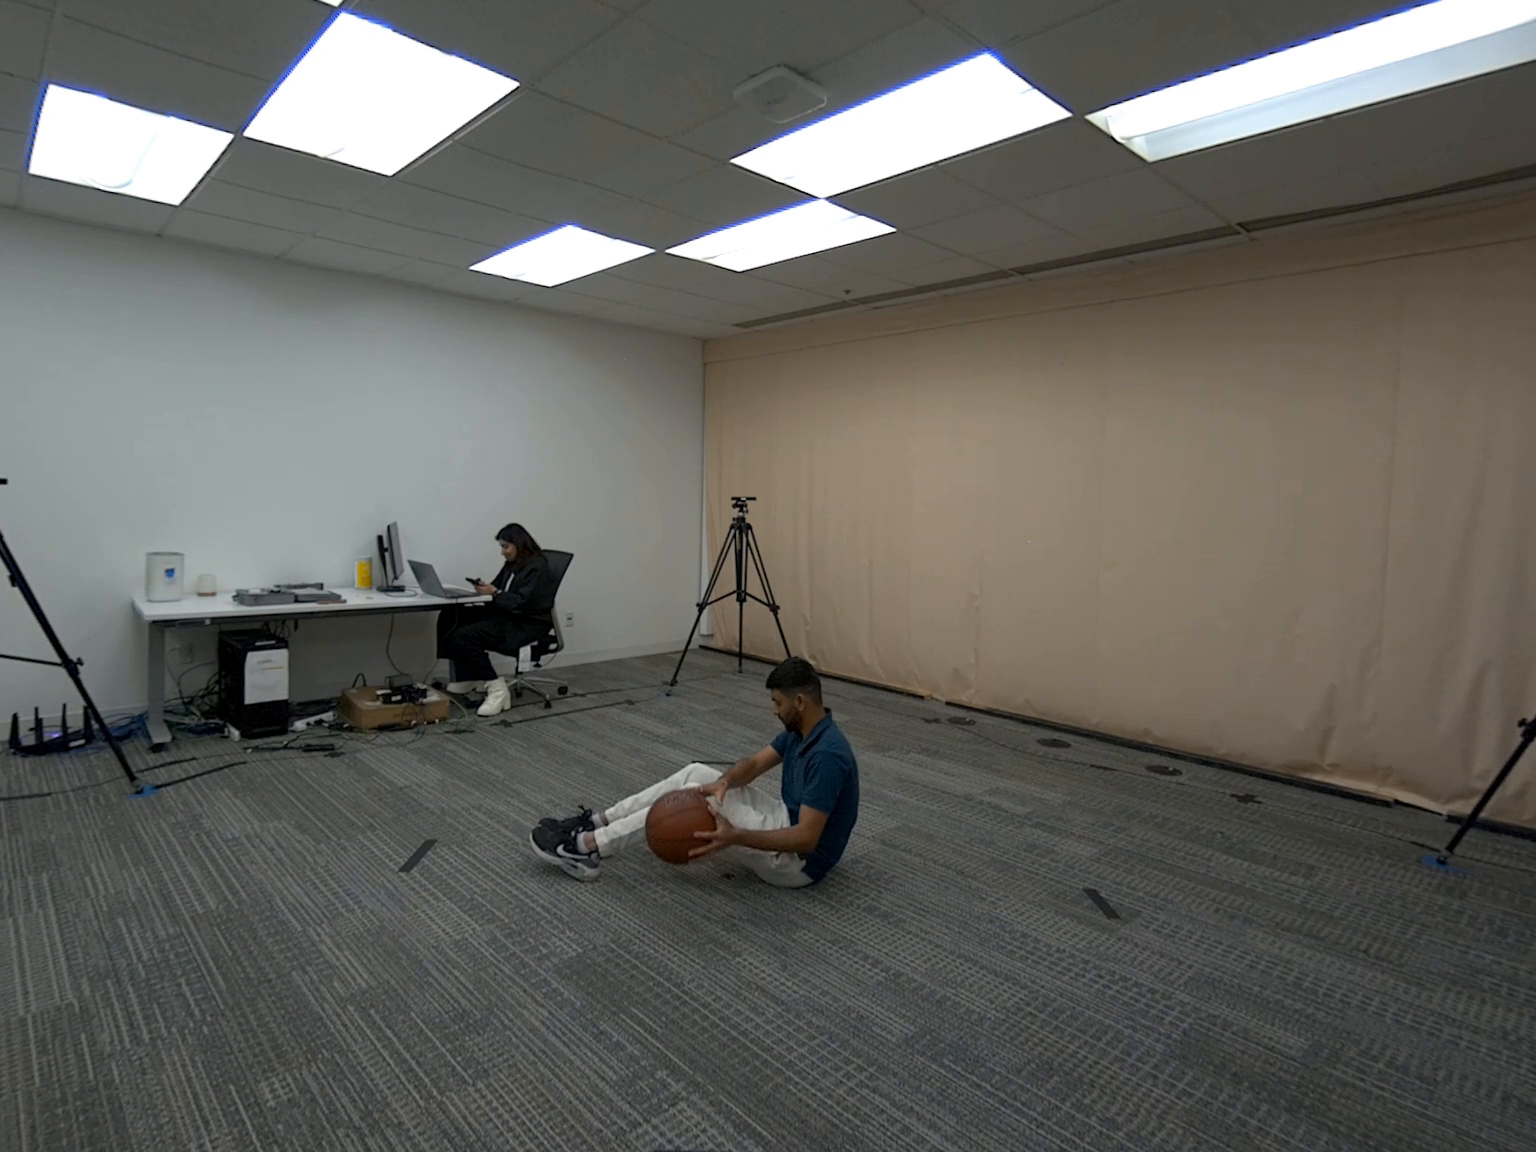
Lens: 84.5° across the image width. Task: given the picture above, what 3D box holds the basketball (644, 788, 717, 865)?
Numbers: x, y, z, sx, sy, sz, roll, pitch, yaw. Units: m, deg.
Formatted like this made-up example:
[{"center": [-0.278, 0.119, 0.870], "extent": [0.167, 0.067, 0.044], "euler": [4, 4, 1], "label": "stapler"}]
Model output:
[{"center": [-0.293, 0.808, 2.785], "extent": [0.236, 0.235, 0.237], "euler": [1, 4, -1], "label": "basketball"}]
